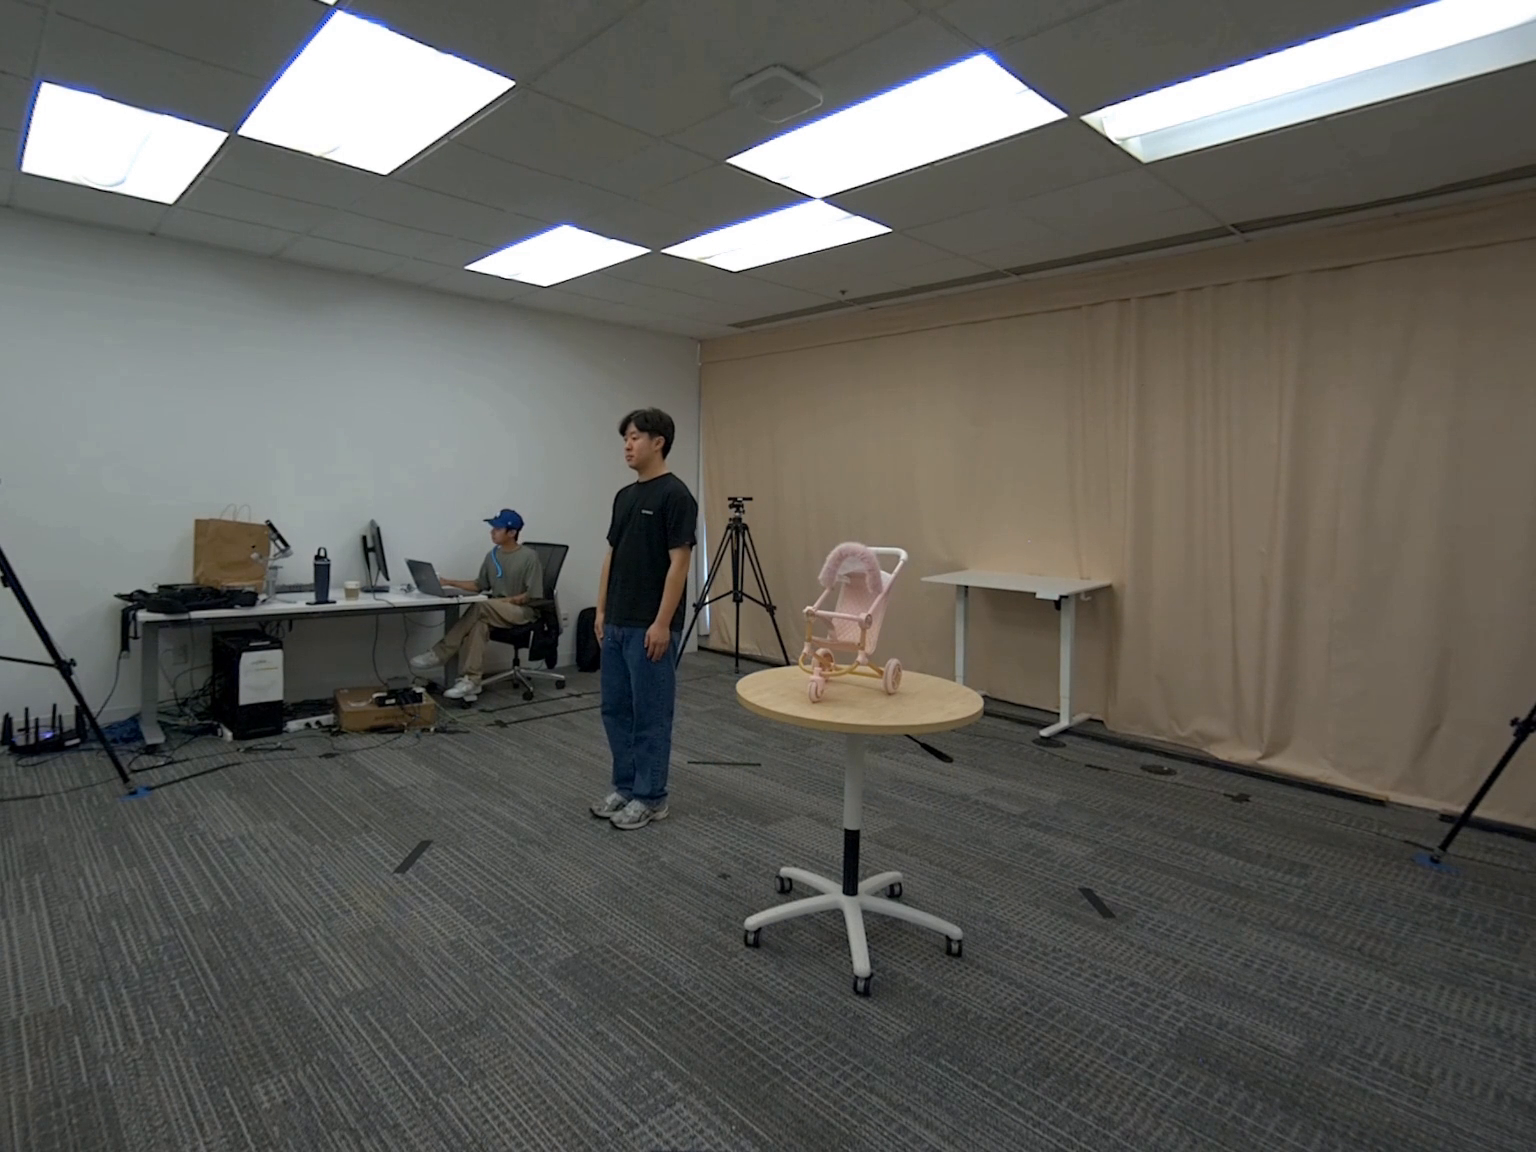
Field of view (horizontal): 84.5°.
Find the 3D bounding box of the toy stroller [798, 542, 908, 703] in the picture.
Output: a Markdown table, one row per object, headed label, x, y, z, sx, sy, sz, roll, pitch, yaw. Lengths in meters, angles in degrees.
| label | x | y | z | sx | sy | sz | roll | pitch | yaw |
| --- | --- | --- | --- | --- | --- | --- | --- | --- | --- |
| toy stroller | 0.245 | 0.139 | 2.626 | 0.288 | 0.537 | 0.331 | 4 | -9 | 38 |
